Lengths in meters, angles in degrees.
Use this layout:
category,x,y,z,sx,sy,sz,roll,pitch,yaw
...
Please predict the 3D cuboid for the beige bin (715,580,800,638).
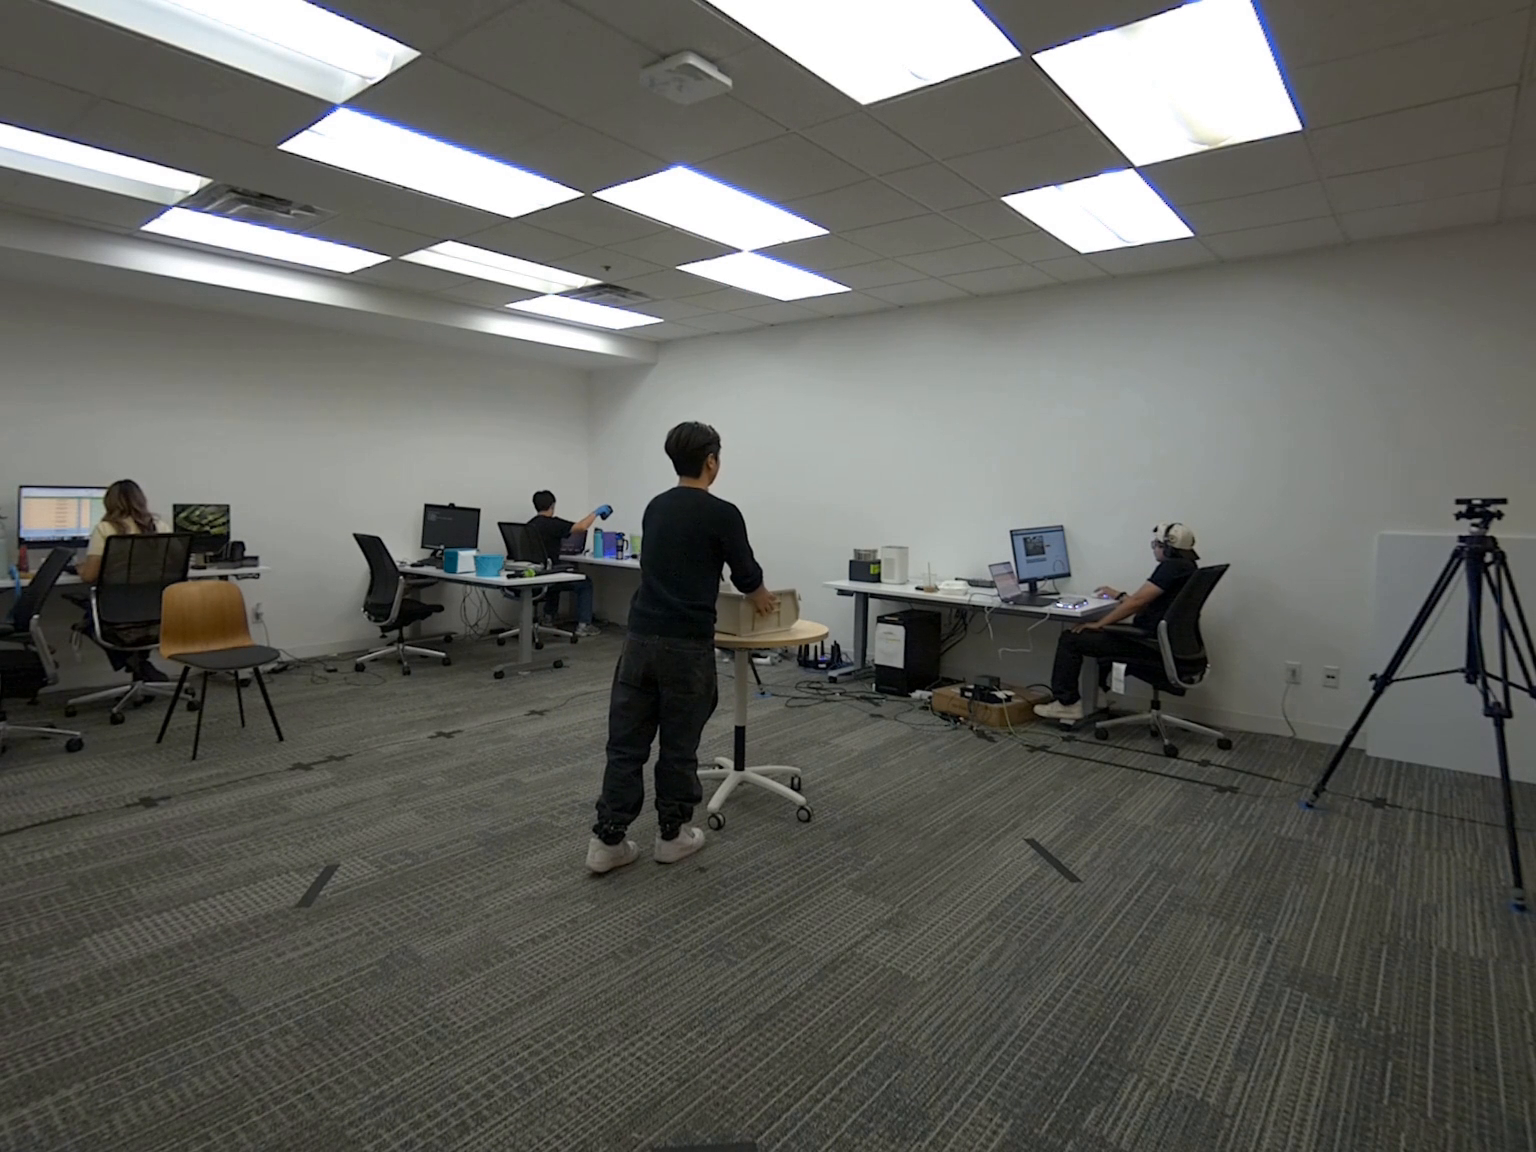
category,x,y,z,sx,sy,sz,roll,pitch,yaw
beige bin,-0.148,0.132,3.746,0.437,0.188,0.366,6,9,43
